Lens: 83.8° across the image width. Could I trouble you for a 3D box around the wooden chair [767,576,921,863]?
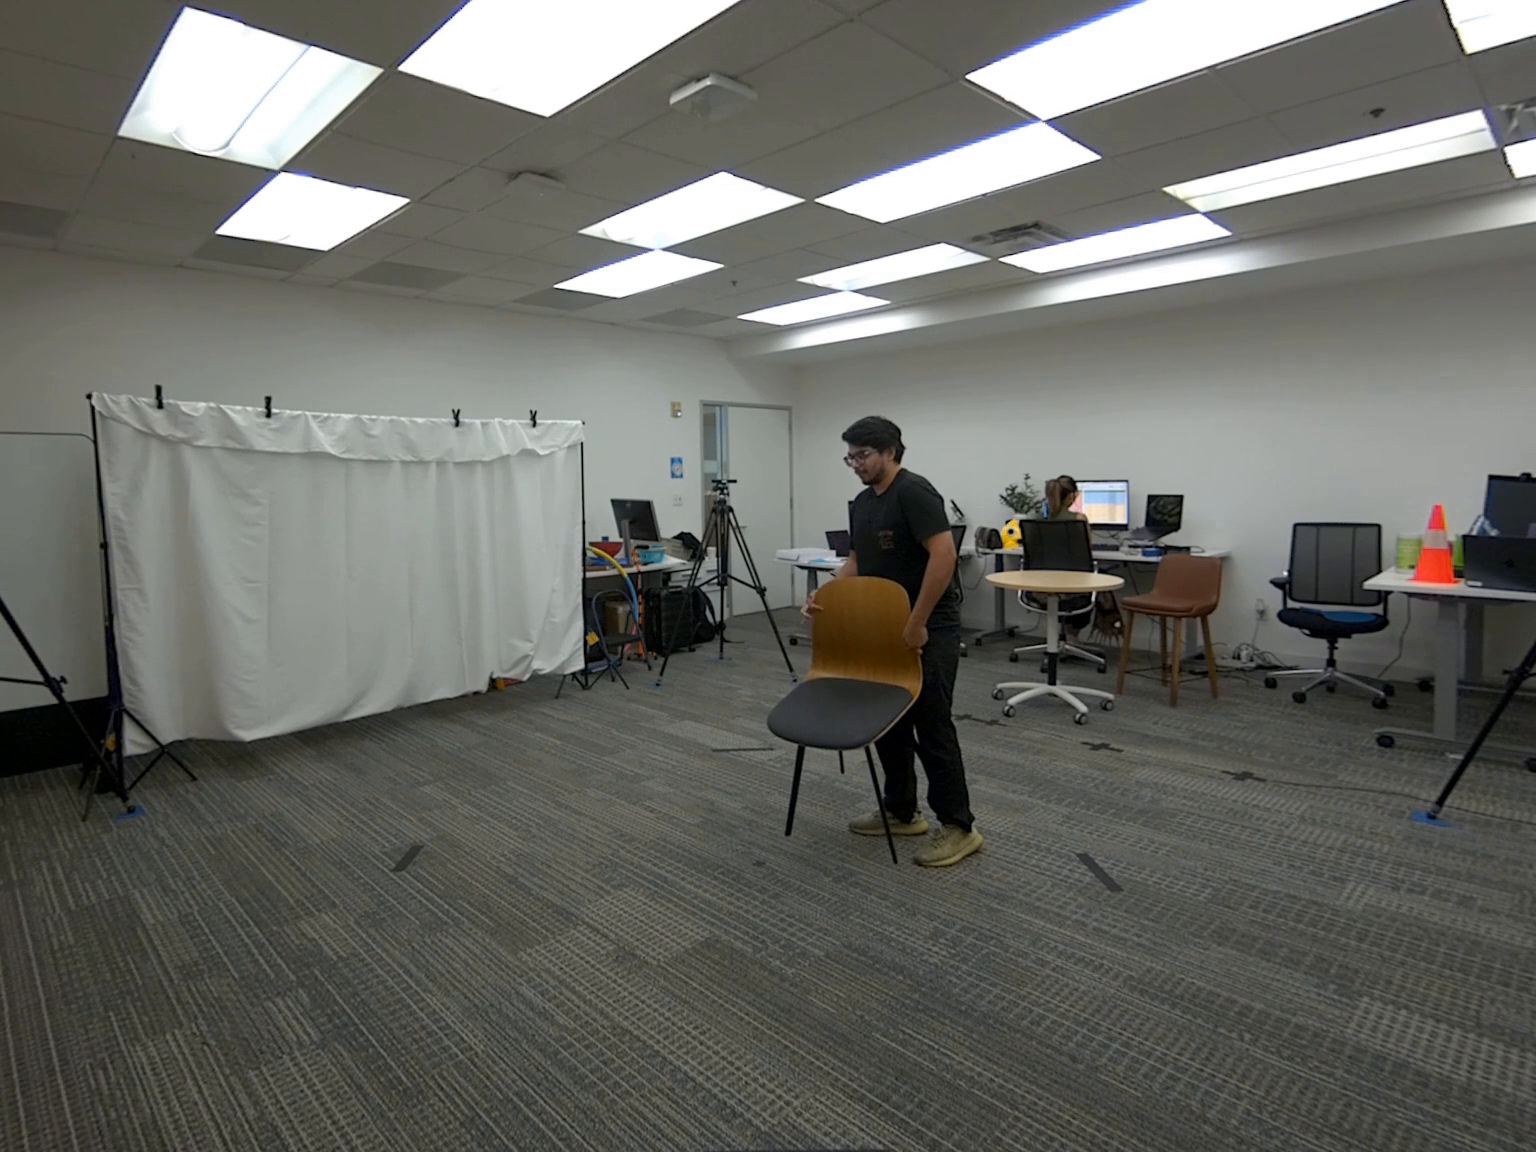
[{"bbox_3d":[0.279,0.501,3.090,0.491,0.867,0.515,0,14,34],"label":"wooden chair"}]
